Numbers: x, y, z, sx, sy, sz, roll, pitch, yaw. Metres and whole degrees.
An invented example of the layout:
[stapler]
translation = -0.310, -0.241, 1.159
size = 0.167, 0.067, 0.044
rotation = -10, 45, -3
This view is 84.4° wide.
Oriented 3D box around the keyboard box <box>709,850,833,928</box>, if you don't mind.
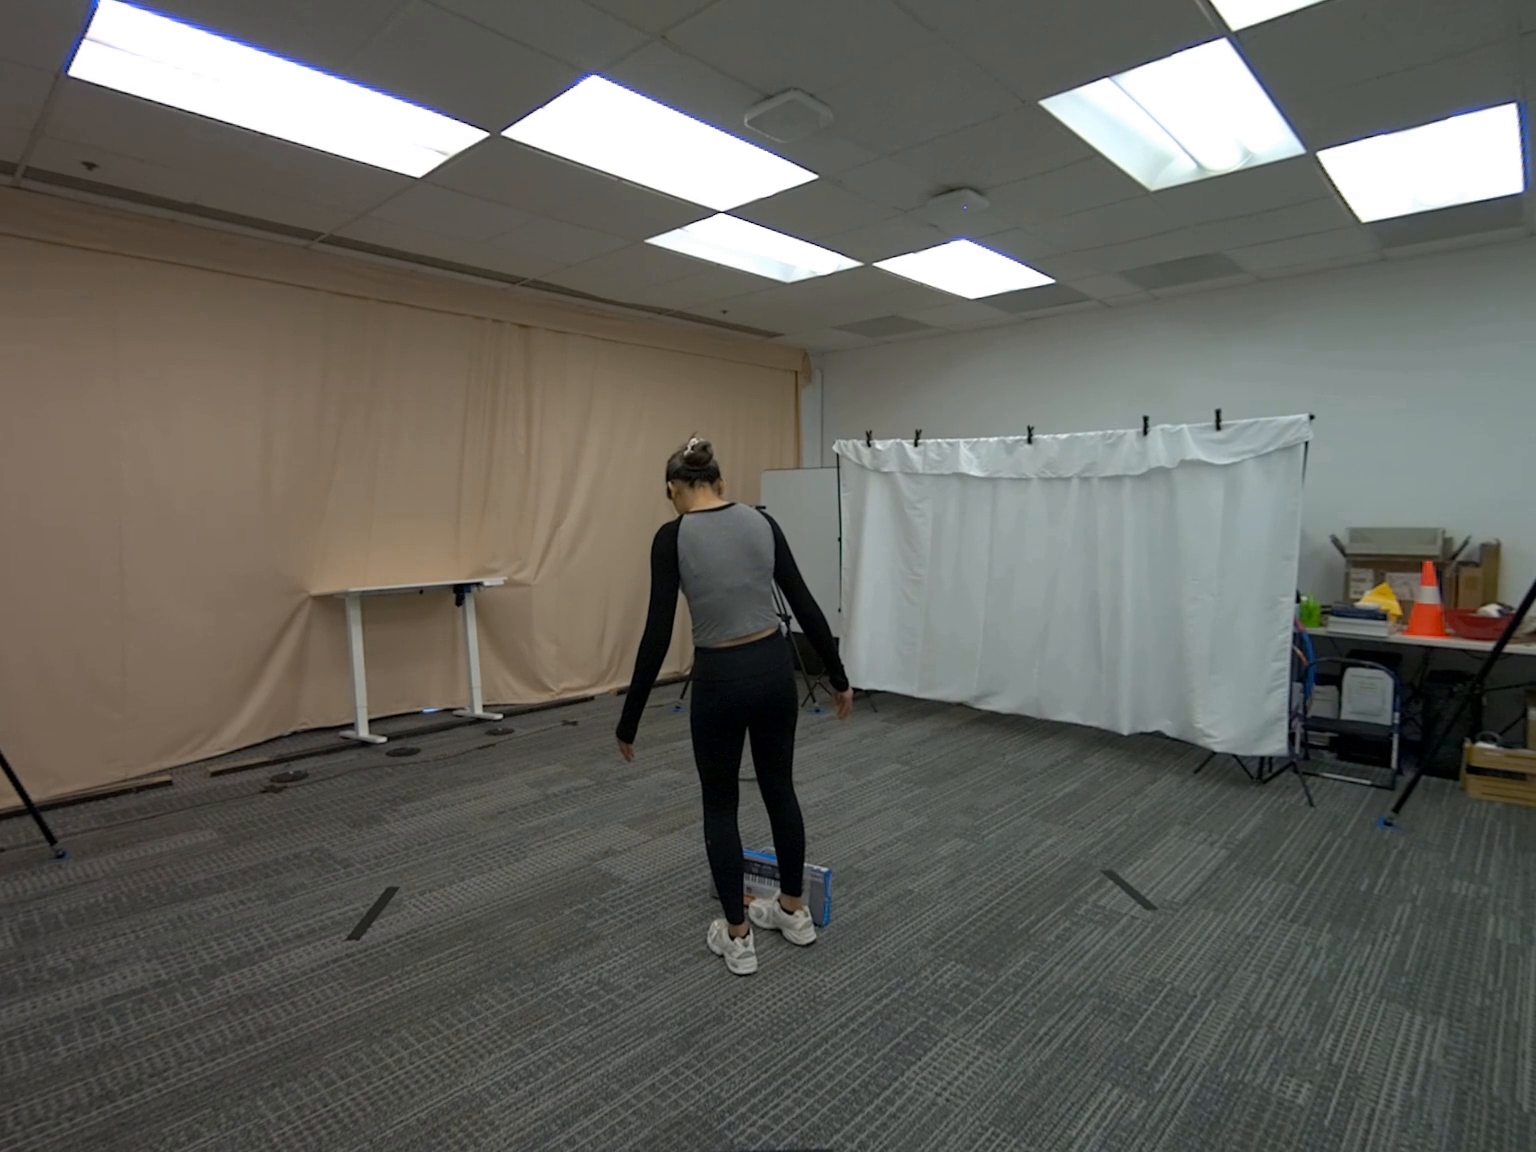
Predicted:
[keyboard box]
translation = 0.010, 1.063, 2.912
size = 0.449, 0.176, 0.057
rotation = 2, -4, 28
